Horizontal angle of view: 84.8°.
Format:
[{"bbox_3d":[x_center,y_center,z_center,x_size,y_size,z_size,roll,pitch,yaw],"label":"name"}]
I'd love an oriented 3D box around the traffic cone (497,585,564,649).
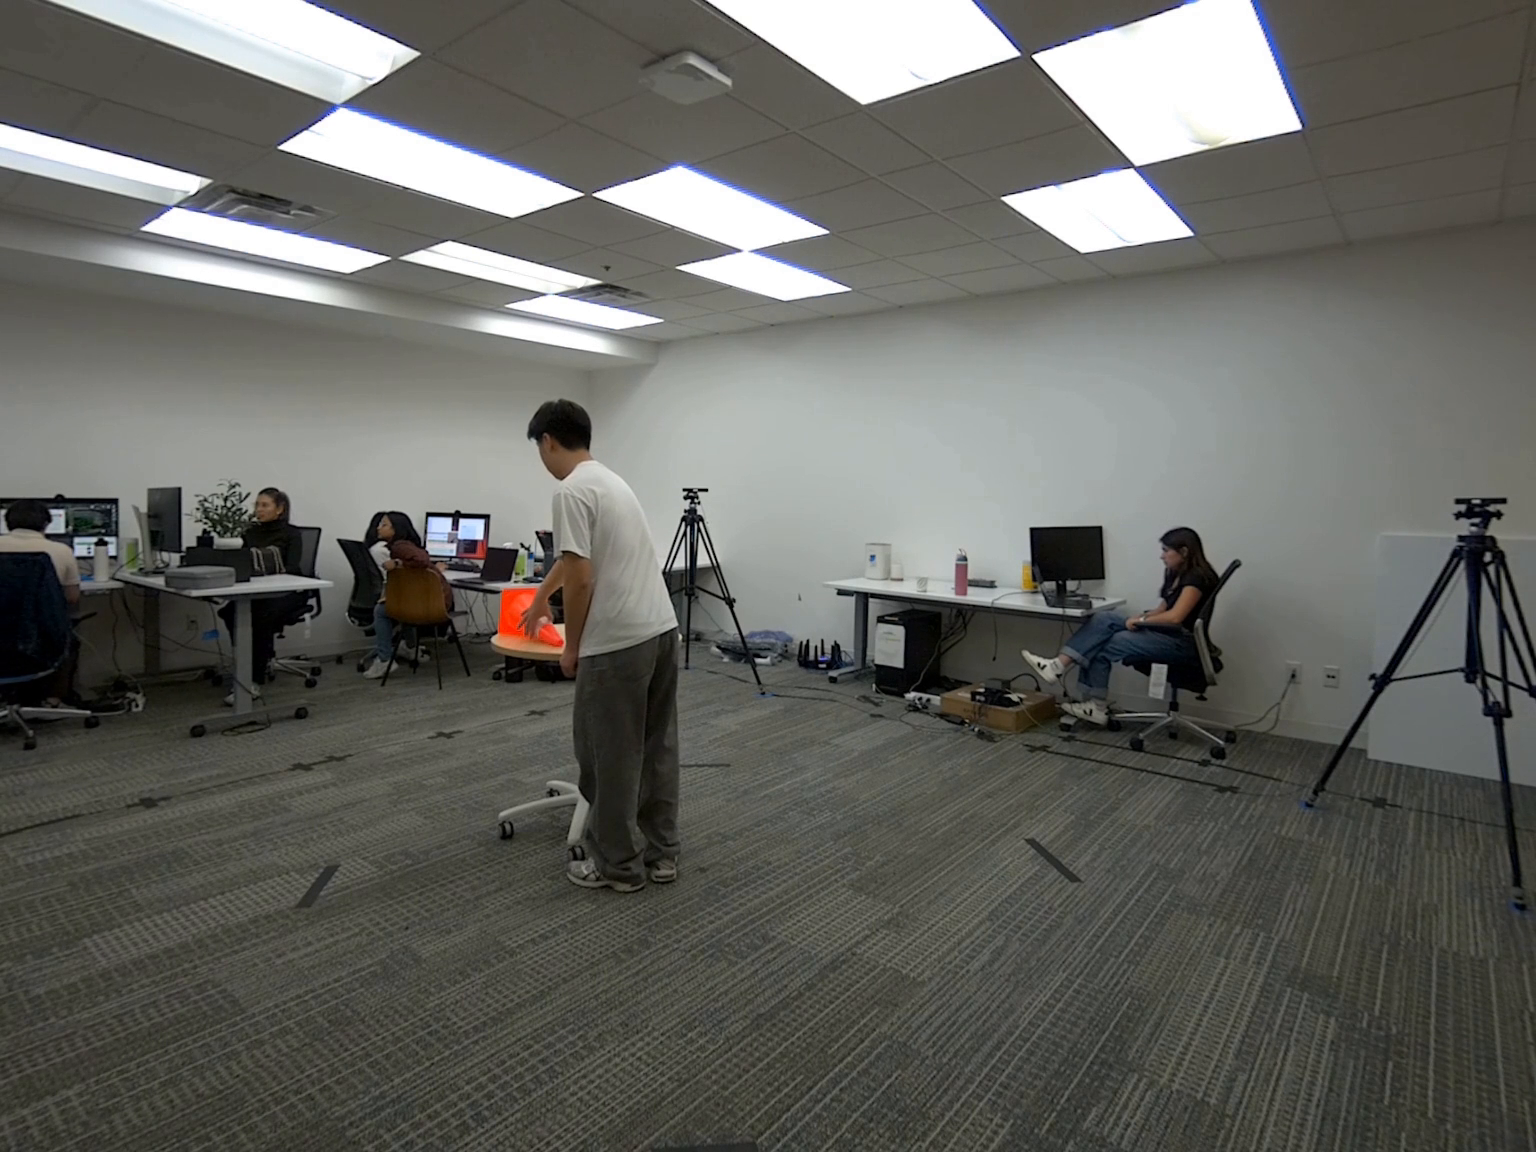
[{"bbox_3d":[-0.907,0.198,3.376,0.199,0.201,0.400,-2,19,-37],"label":"traffic cone"}]
